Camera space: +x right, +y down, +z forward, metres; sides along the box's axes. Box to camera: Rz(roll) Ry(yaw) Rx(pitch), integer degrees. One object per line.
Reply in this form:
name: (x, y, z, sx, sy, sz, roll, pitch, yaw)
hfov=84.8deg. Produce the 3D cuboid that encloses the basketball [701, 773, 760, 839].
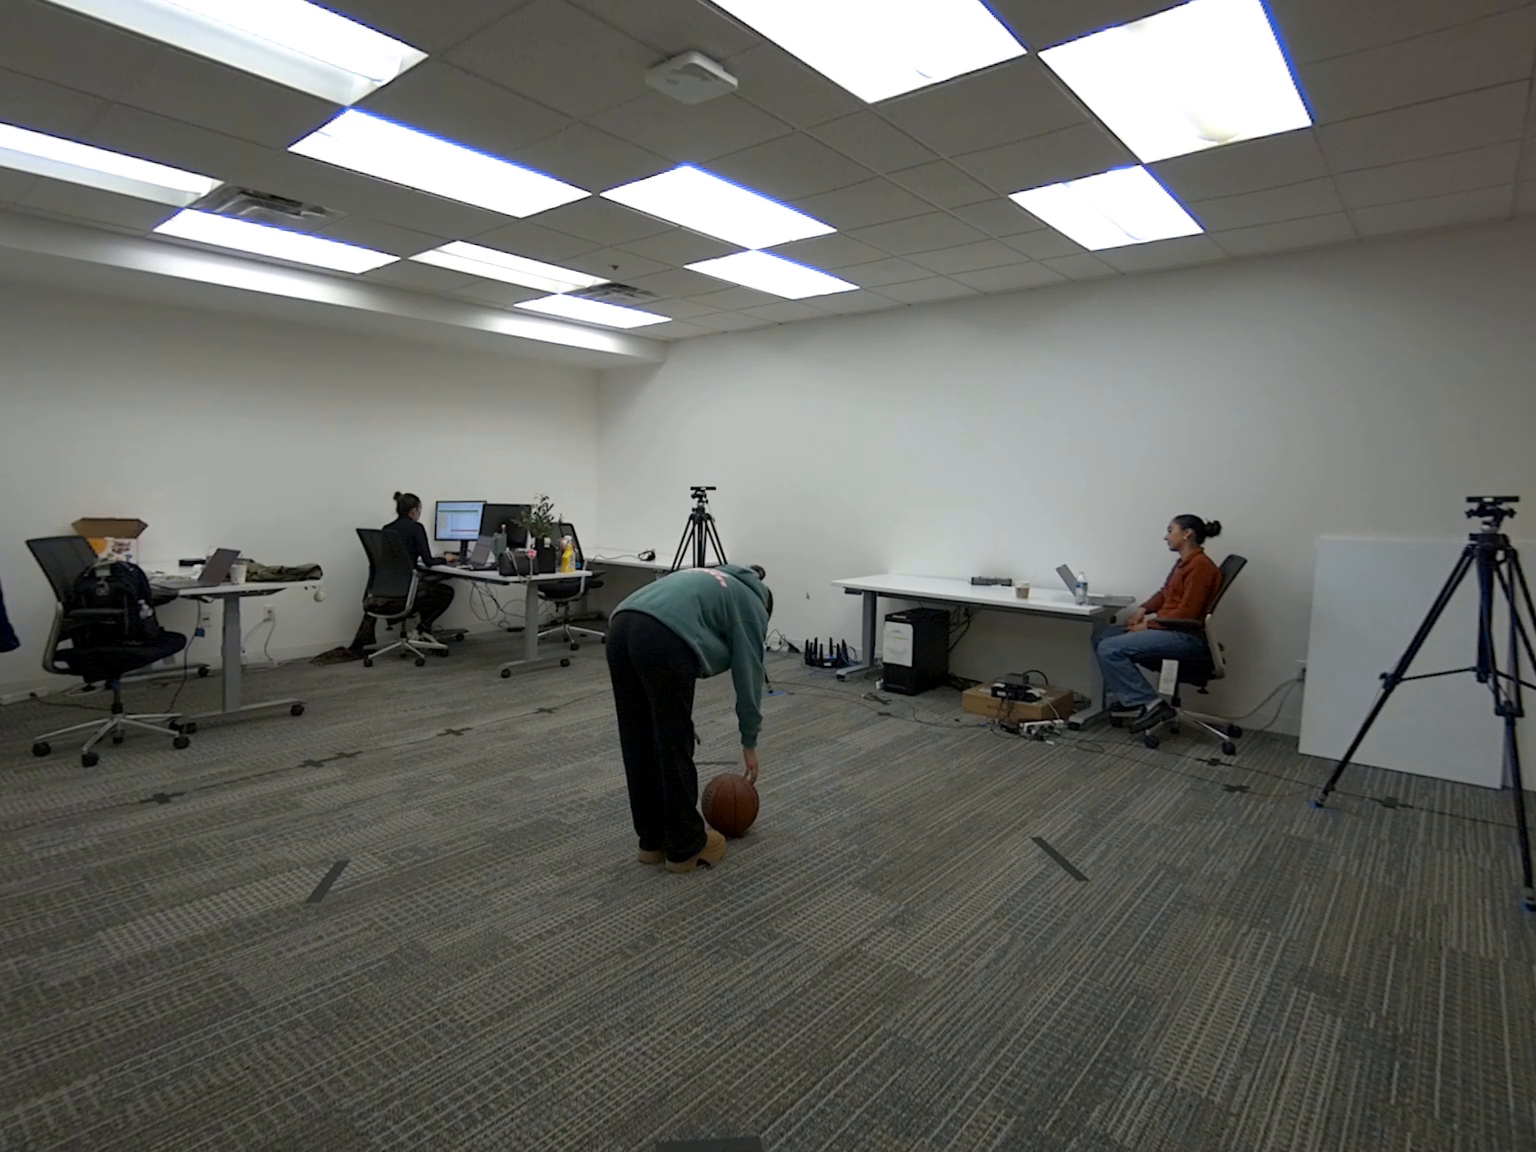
basketball: (-0.163, 0.911, 3.435, 0.235, 0.235, 0.237, 1, 4, -2)
